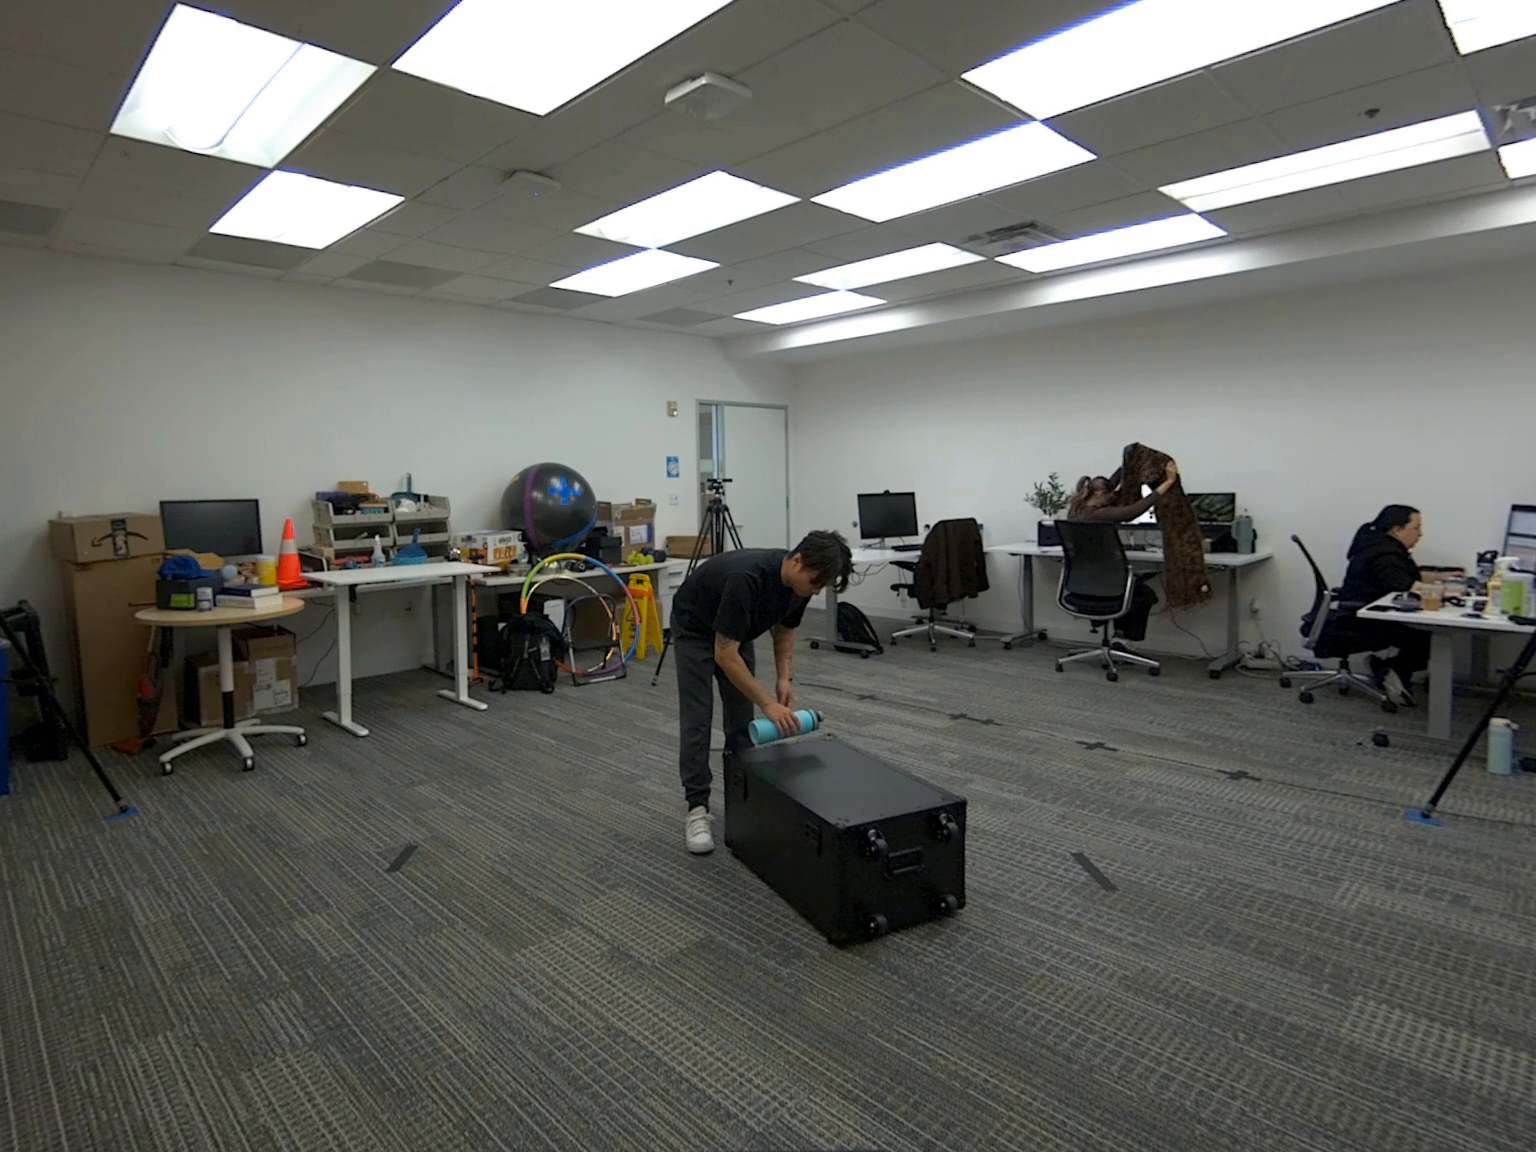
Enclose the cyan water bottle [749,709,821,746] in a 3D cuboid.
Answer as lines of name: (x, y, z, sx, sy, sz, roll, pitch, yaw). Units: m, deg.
cyan water bottle: (0.078, 0.557, 3.186, 0.278, 0.092, 0.094, -9, 8, -24)
